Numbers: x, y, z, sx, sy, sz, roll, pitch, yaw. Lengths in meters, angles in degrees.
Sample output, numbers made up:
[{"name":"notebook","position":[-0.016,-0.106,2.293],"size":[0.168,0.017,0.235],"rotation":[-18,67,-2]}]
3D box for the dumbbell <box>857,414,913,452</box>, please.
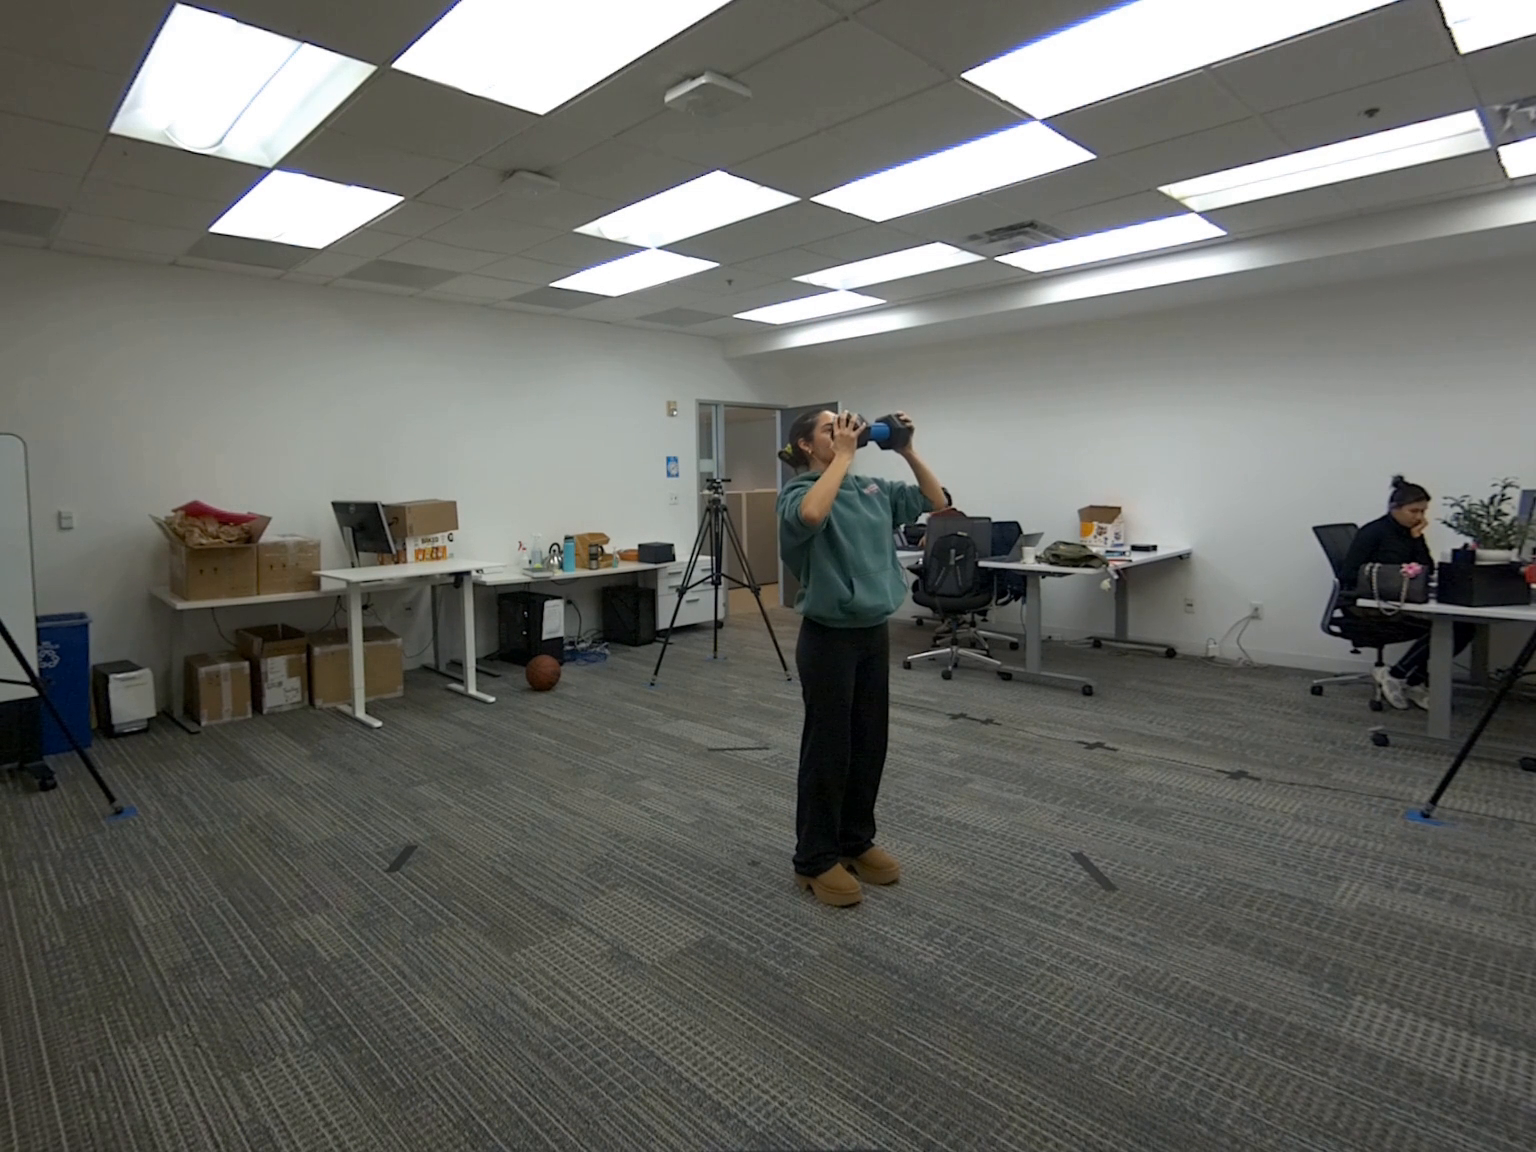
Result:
[{"name":"dumbbell","position":[0.331,-0.467,2.763],"size":[0.113,0.121,0.286],"rotation":[30,26,36]}]
